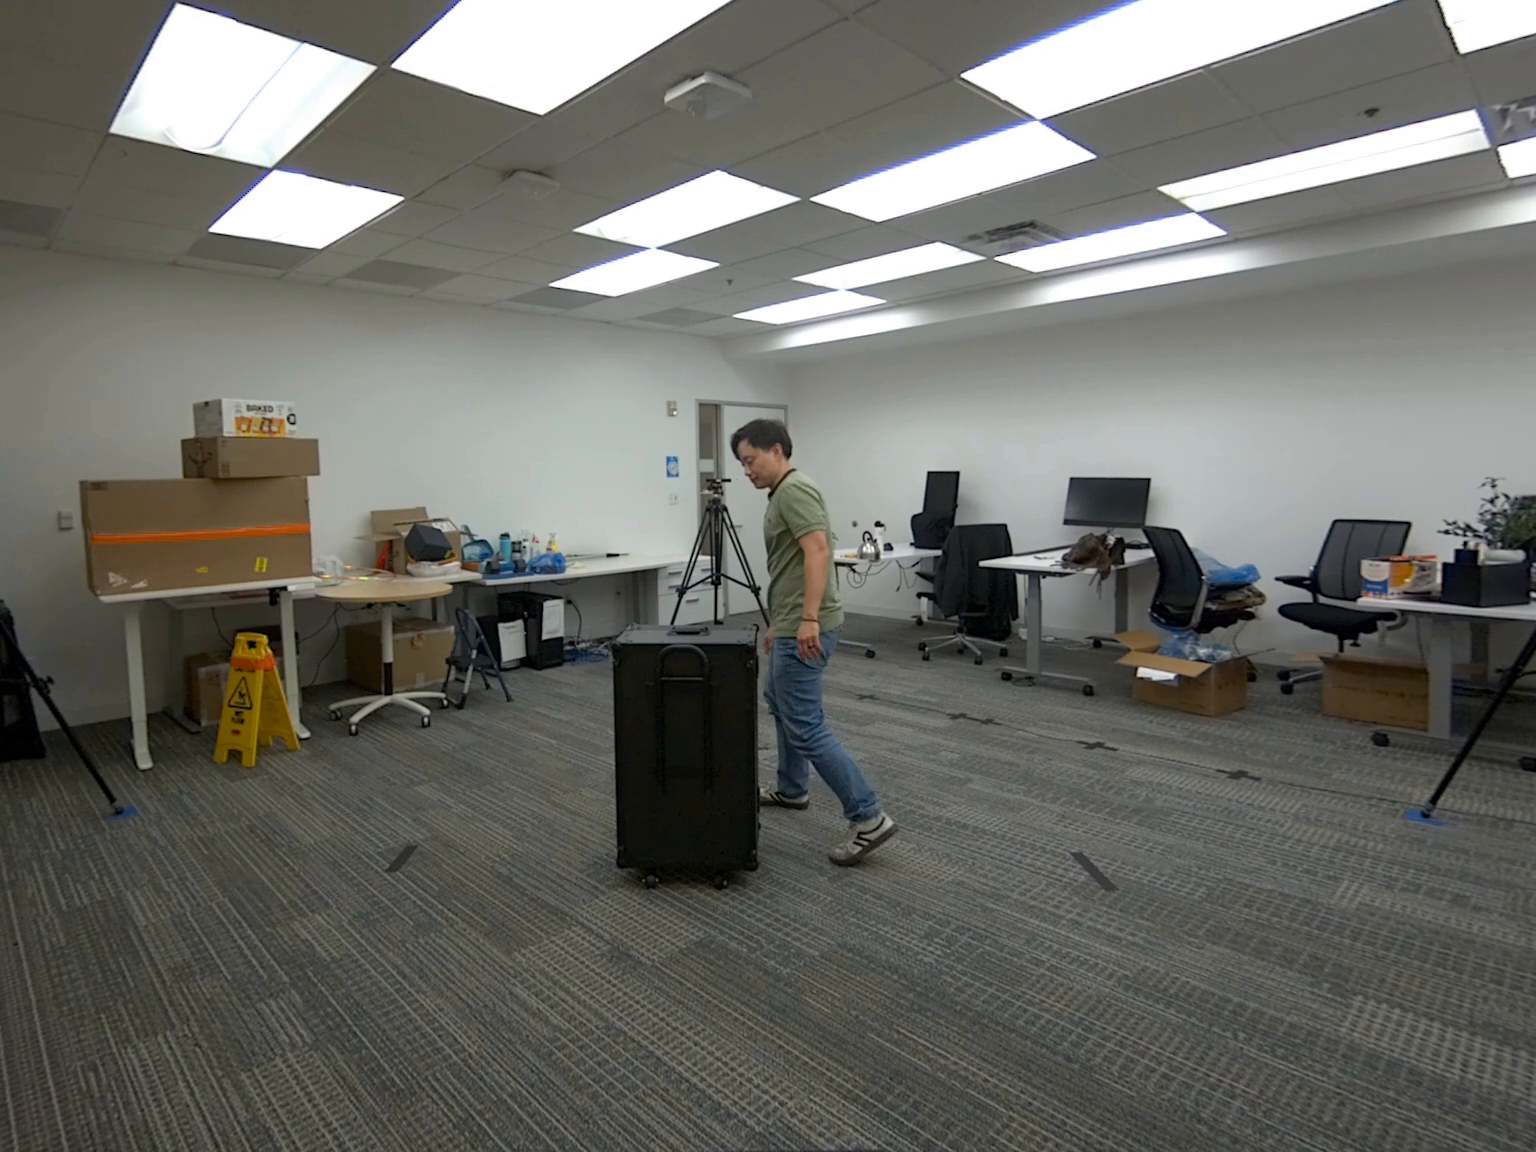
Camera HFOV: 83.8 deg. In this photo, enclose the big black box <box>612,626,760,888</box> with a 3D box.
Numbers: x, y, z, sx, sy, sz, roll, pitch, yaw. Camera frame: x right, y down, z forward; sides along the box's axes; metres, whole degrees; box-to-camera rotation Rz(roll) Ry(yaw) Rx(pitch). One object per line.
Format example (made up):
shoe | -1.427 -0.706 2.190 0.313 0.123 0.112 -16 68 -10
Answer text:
big black box | -0.274 0.629 3.043 0.523 0.858 0.396 0 5 3
